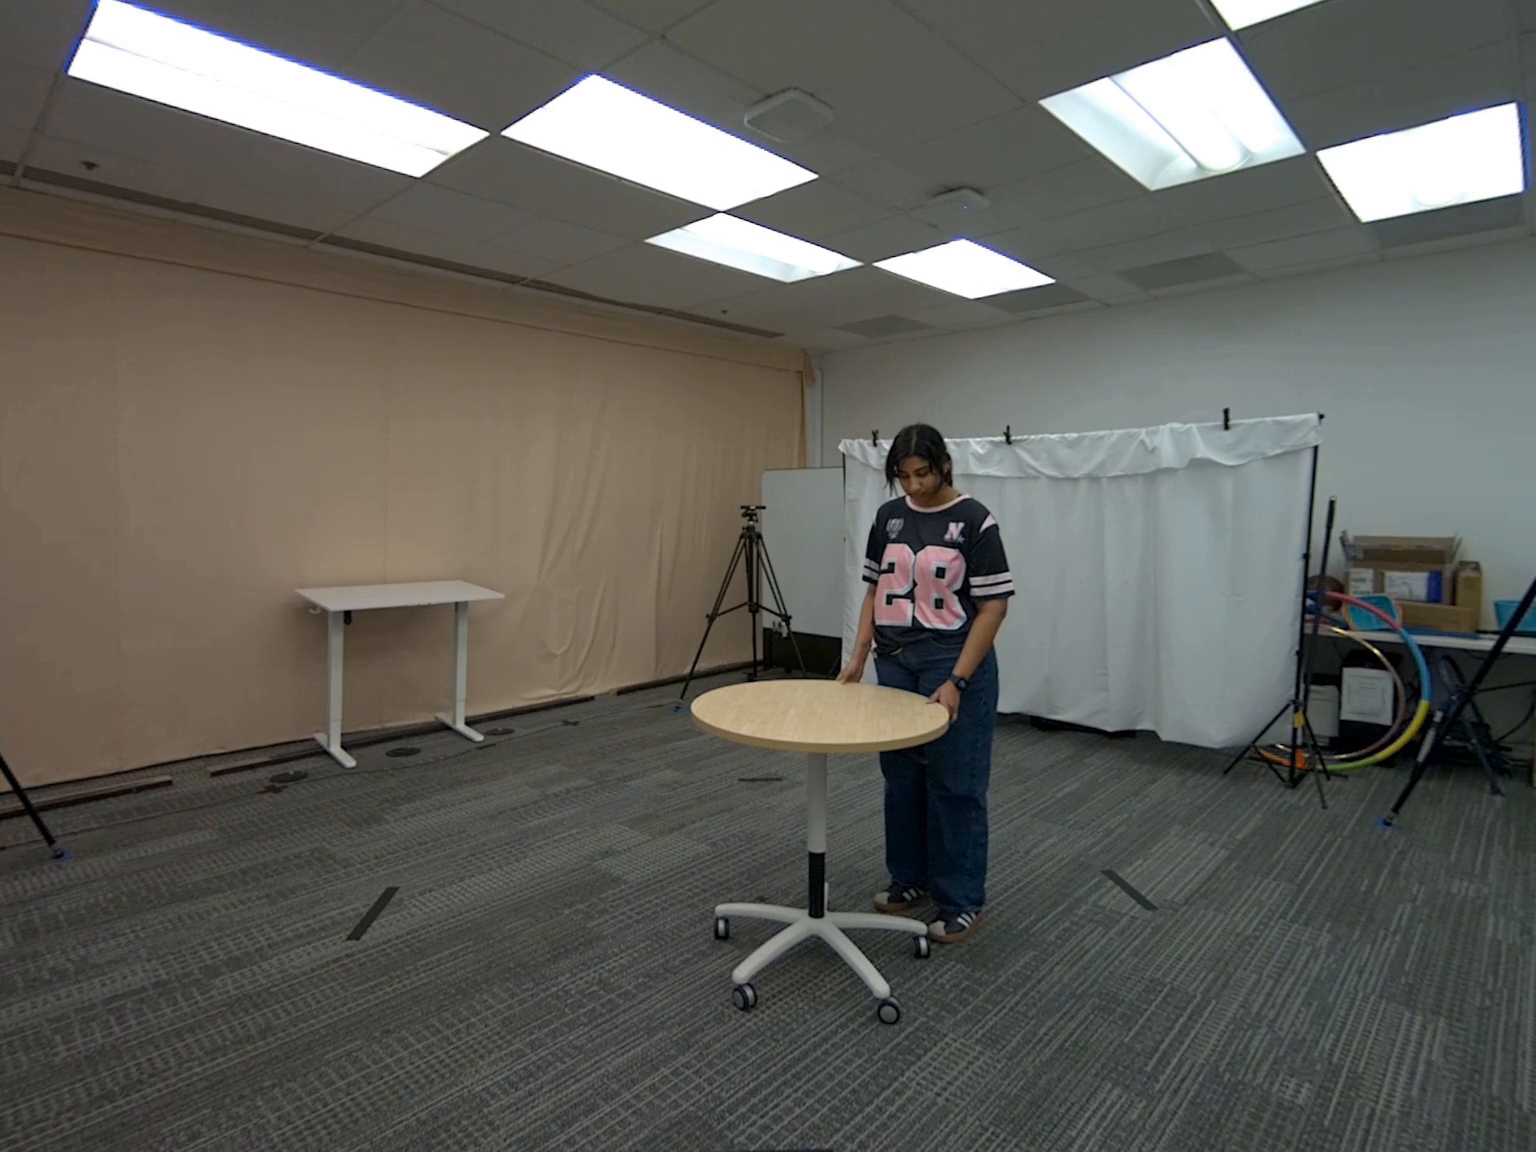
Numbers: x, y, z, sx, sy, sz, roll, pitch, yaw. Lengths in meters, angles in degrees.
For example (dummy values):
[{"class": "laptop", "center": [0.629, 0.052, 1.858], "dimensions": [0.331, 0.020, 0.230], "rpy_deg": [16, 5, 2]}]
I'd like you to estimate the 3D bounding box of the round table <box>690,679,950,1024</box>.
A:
[{"class": "round table", "center": [0.147, 0.791, 2.555], "dimensions": [0.763, 0.792, 0.767], "rpy_deg": [0, 4, -2]}]
